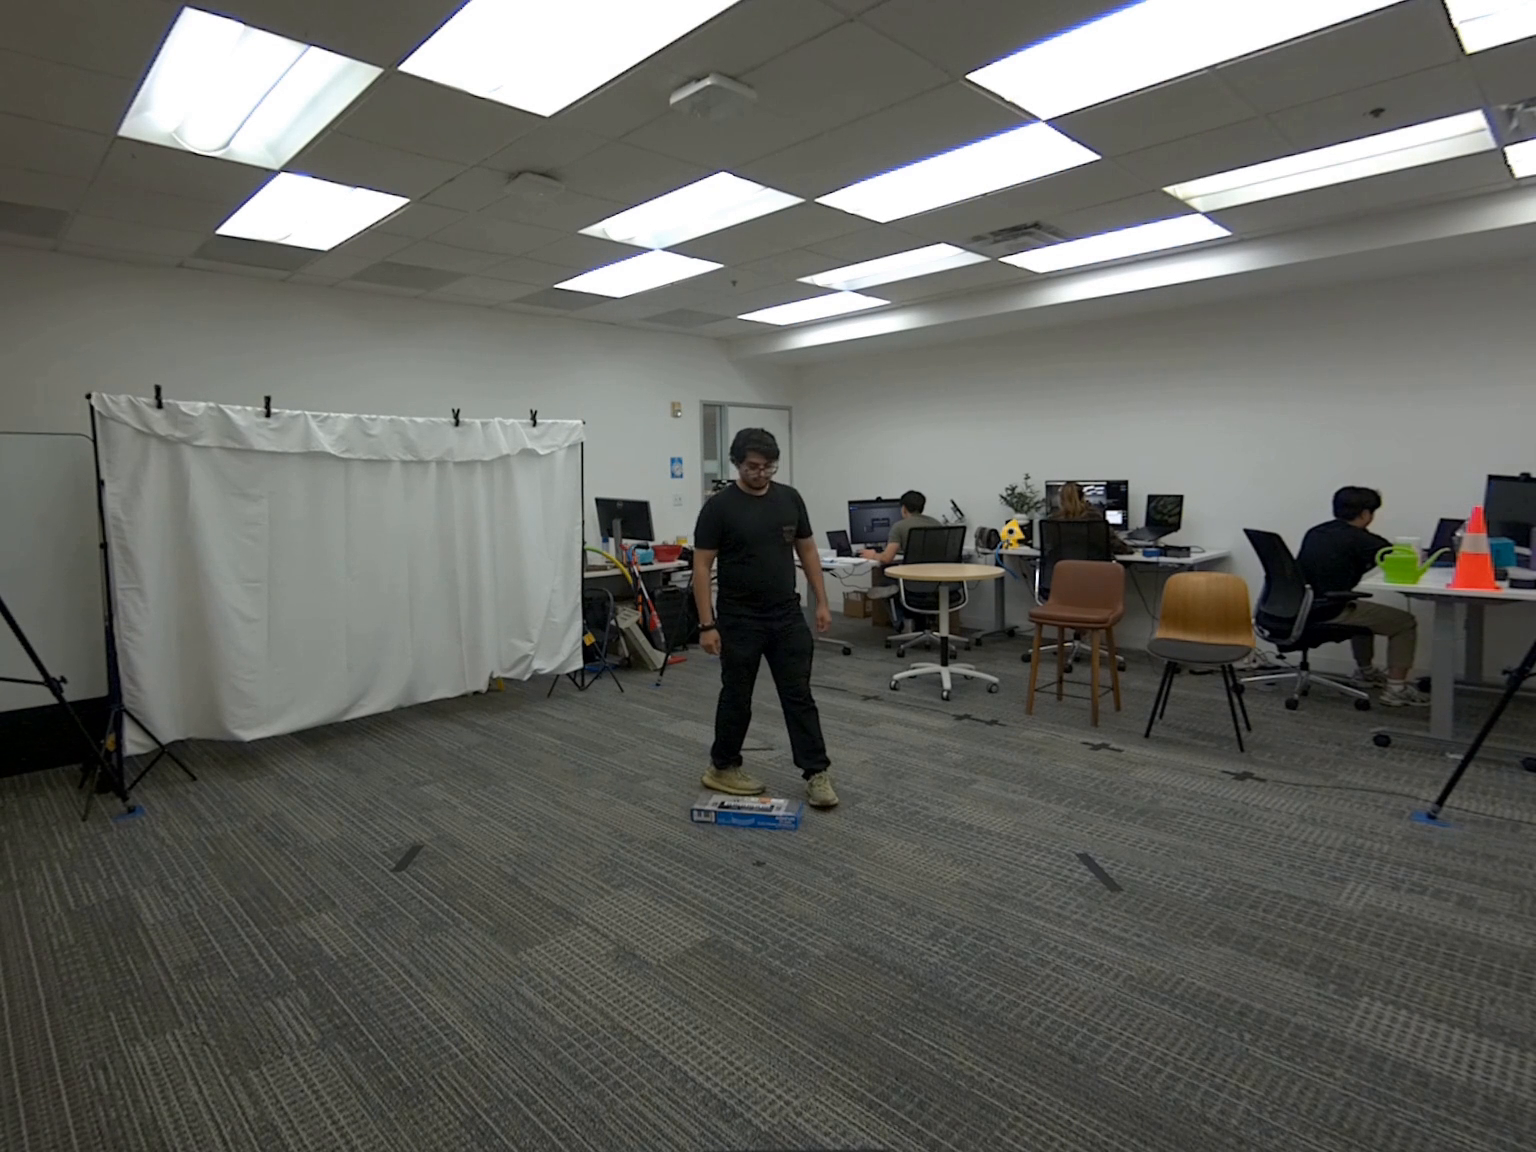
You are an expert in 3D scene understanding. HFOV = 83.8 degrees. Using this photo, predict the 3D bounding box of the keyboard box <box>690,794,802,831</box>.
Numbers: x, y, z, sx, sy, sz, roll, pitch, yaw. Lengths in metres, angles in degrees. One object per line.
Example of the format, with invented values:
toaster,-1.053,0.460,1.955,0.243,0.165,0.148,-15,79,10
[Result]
keyboard box,-0.083,0.972,3.529,0.442,0.059,0.174,0,6,13
